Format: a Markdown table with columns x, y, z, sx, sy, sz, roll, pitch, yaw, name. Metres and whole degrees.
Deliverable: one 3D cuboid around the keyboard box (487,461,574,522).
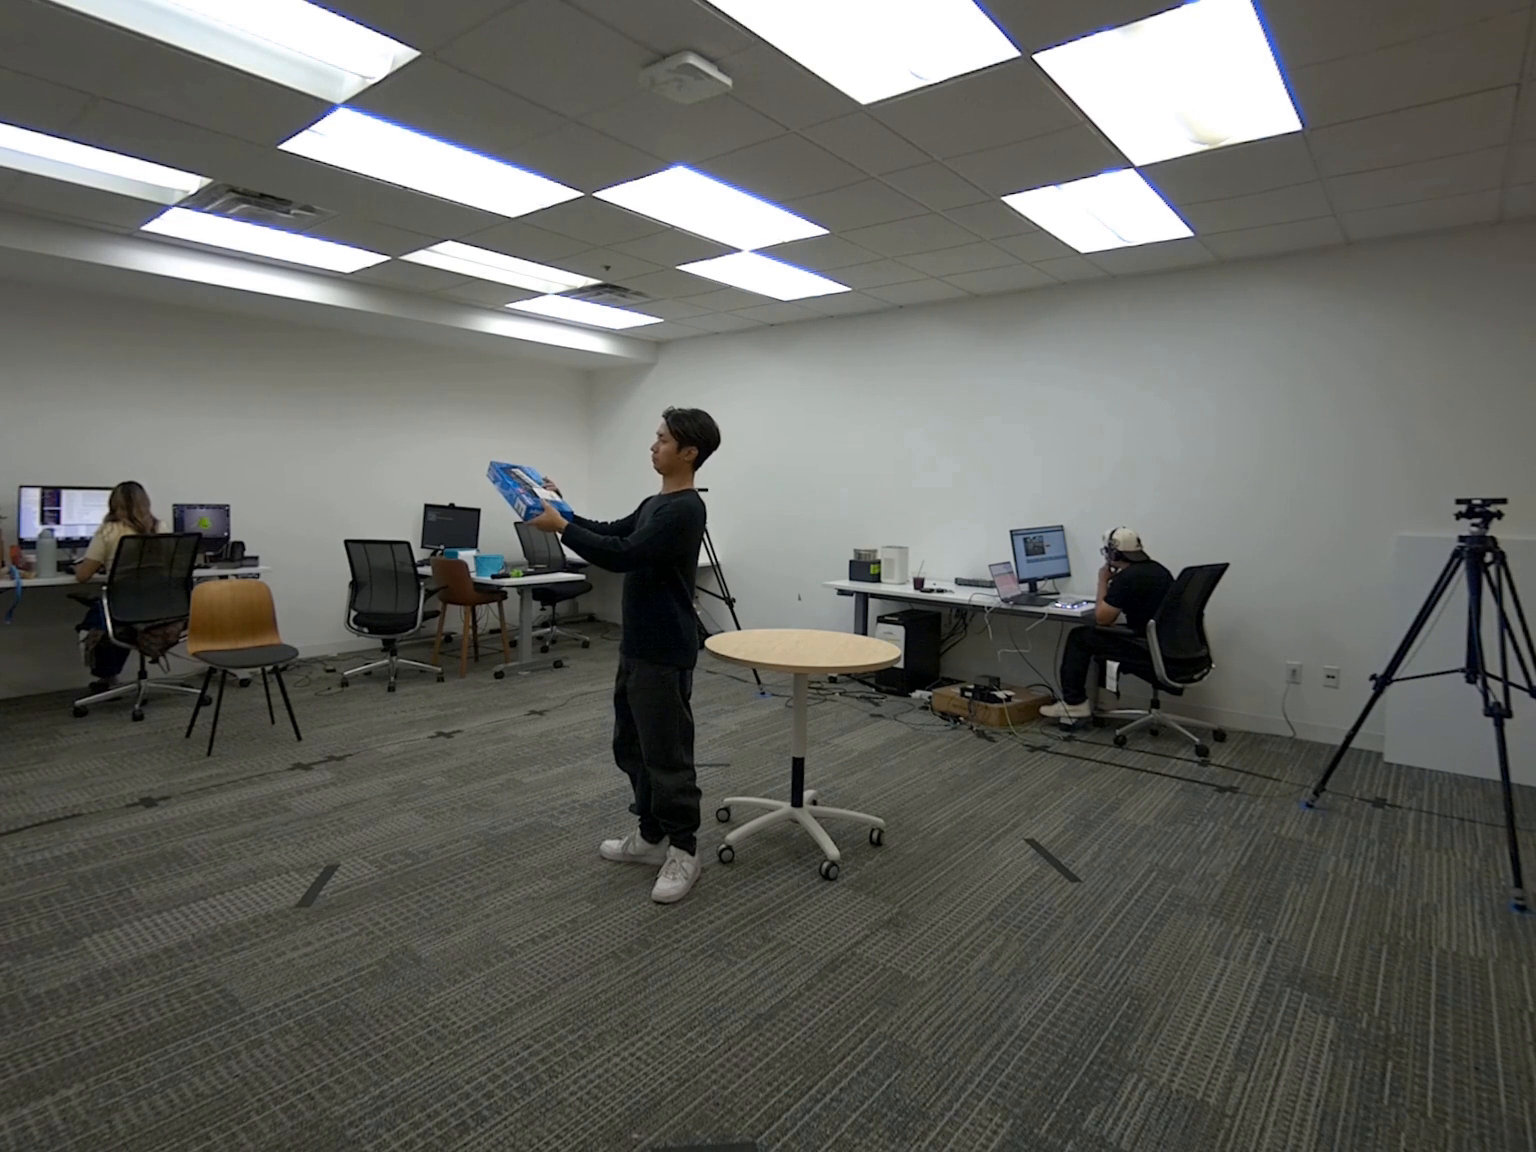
| x | y | z | sx | sy | sz | roll | pitch | yaw | name |
| --- | --- | --- | --- | --- | --- | --- | --- | --- | --- |
| -0.863 | -0.299 | 3.030 | 0.170 | 0.058 | 0.456 | 5 | 22 | -37 | keyboard box |
